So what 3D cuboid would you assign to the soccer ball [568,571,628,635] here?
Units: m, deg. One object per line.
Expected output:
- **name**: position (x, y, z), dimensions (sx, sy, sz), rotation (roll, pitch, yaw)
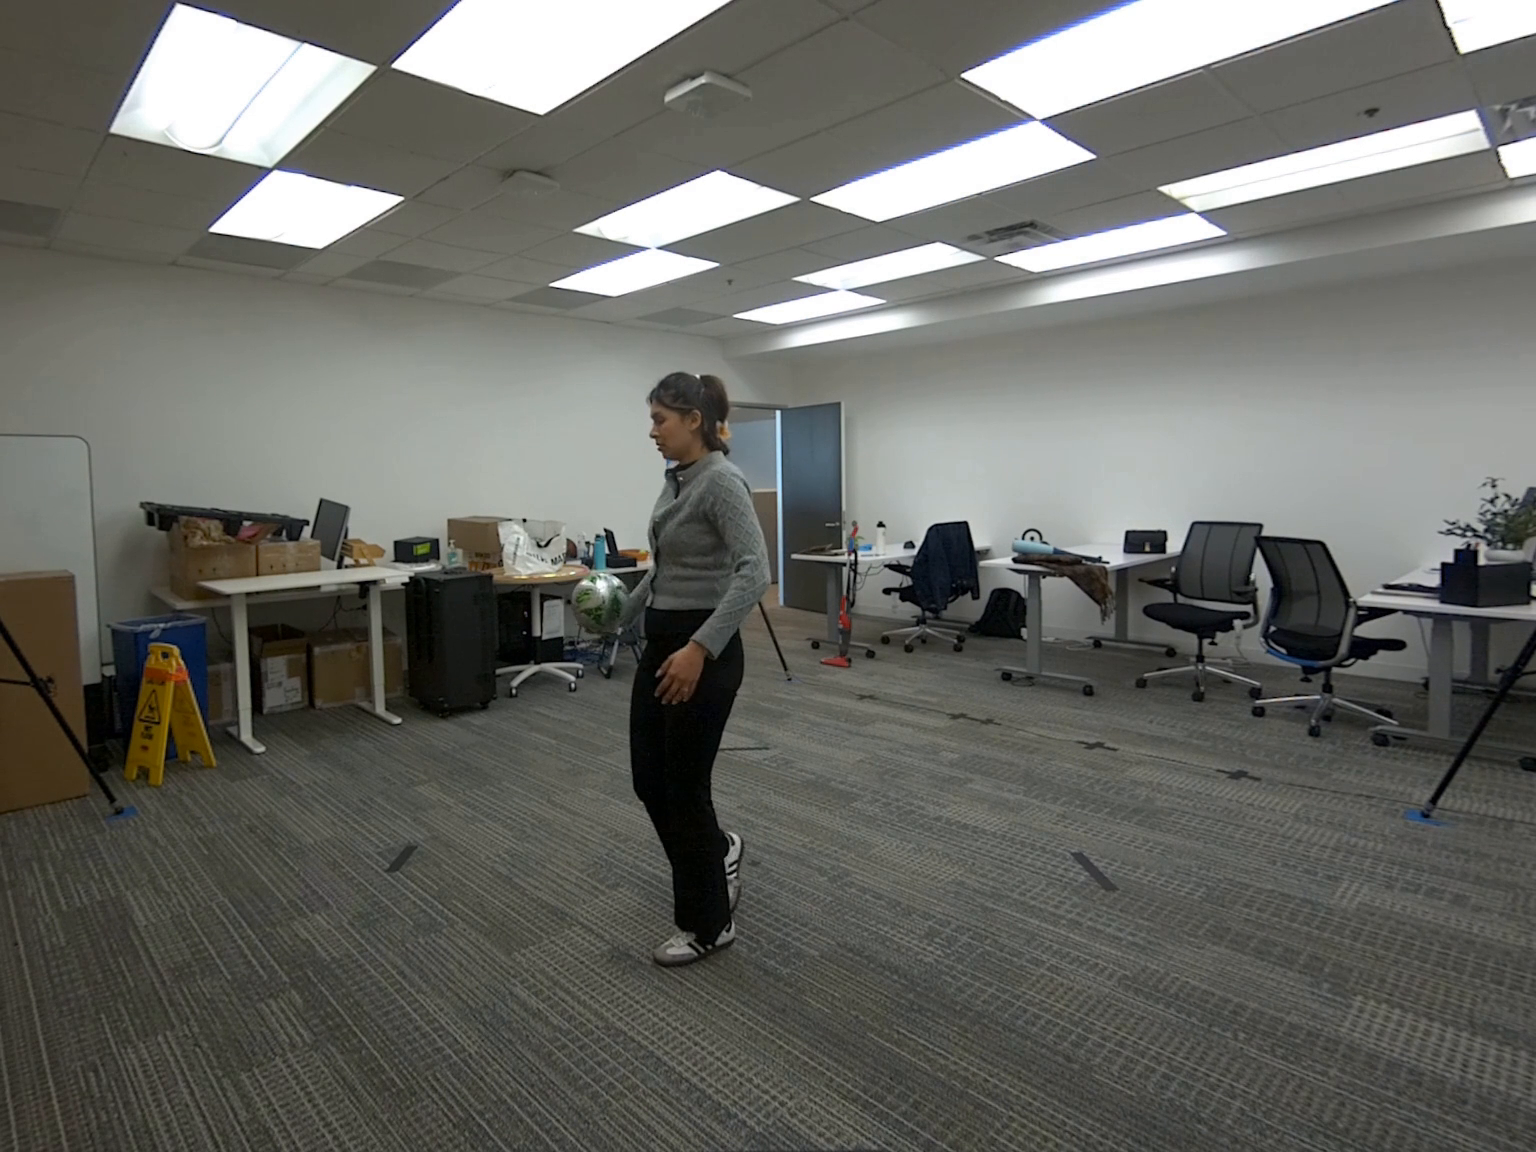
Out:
- **soccer ball**: position (-0.521, 0.081, 2.717), dimensions (0.187, 0.187, 0.188), rotation (-1, 5, -2)
